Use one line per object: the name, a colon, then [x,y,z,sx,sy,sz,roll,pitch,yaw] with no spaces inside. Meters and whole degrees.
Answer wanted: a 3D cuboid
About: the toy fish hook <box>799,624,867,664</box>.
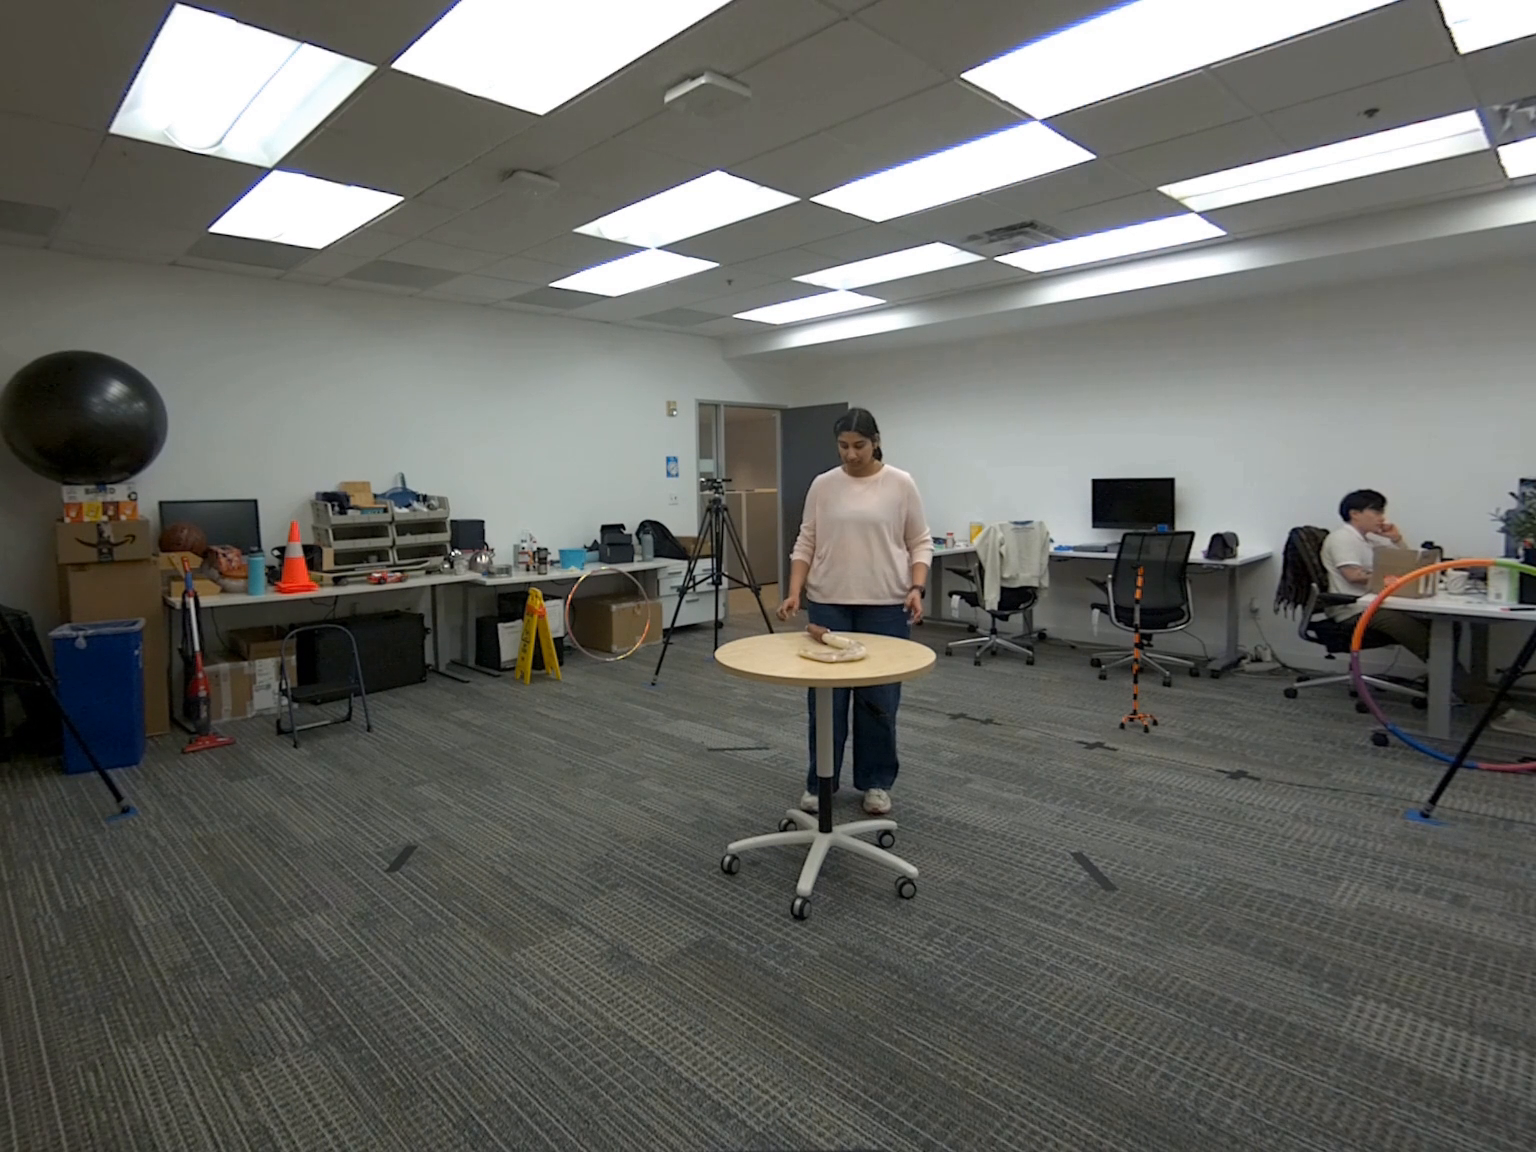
toy fish hook: [0.186,0.241,3.066,0.222,0.048,0.515,-3,7,-13]
